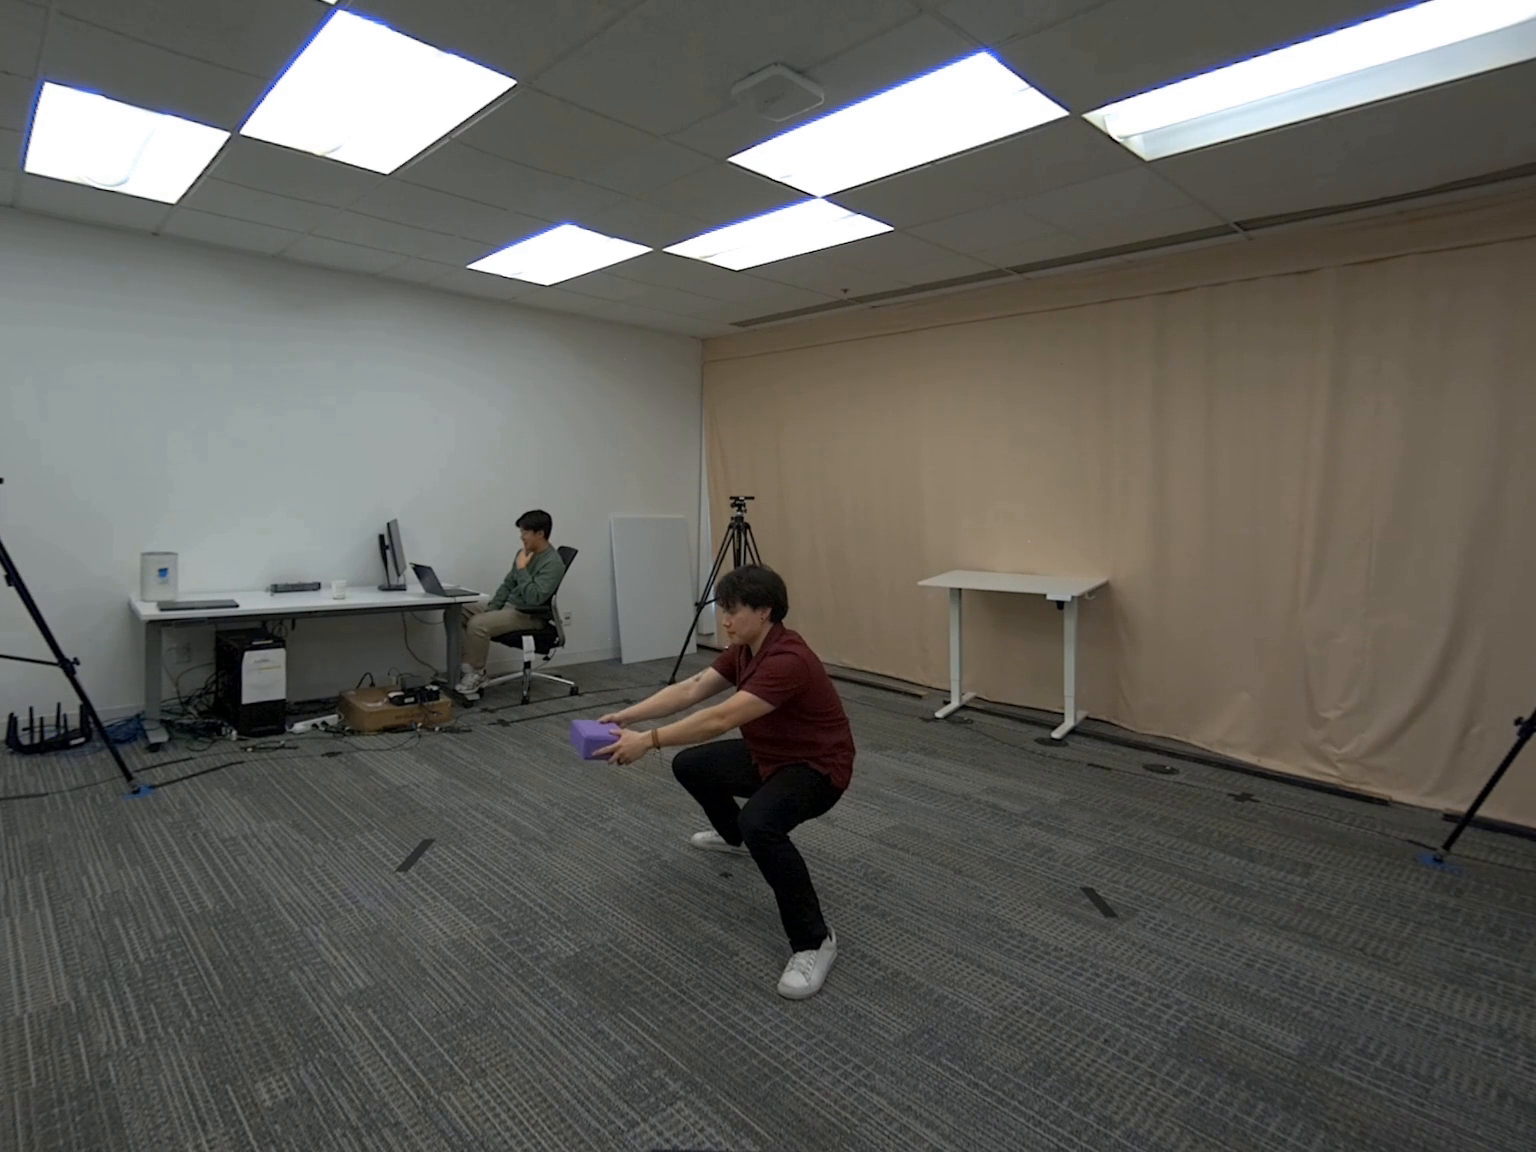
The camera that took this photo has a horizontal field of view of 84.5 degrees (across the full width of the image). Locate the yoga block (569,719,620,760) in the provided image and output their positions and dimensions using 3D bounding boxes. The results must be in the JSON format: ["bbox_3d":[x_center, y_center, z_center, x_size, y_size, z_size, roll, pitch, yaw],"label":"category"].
[{"bbox_3d":[-0.541,0.505,2.682,0.146,0.076,0.234,7,1,-25],"label":"yoga block"}]
